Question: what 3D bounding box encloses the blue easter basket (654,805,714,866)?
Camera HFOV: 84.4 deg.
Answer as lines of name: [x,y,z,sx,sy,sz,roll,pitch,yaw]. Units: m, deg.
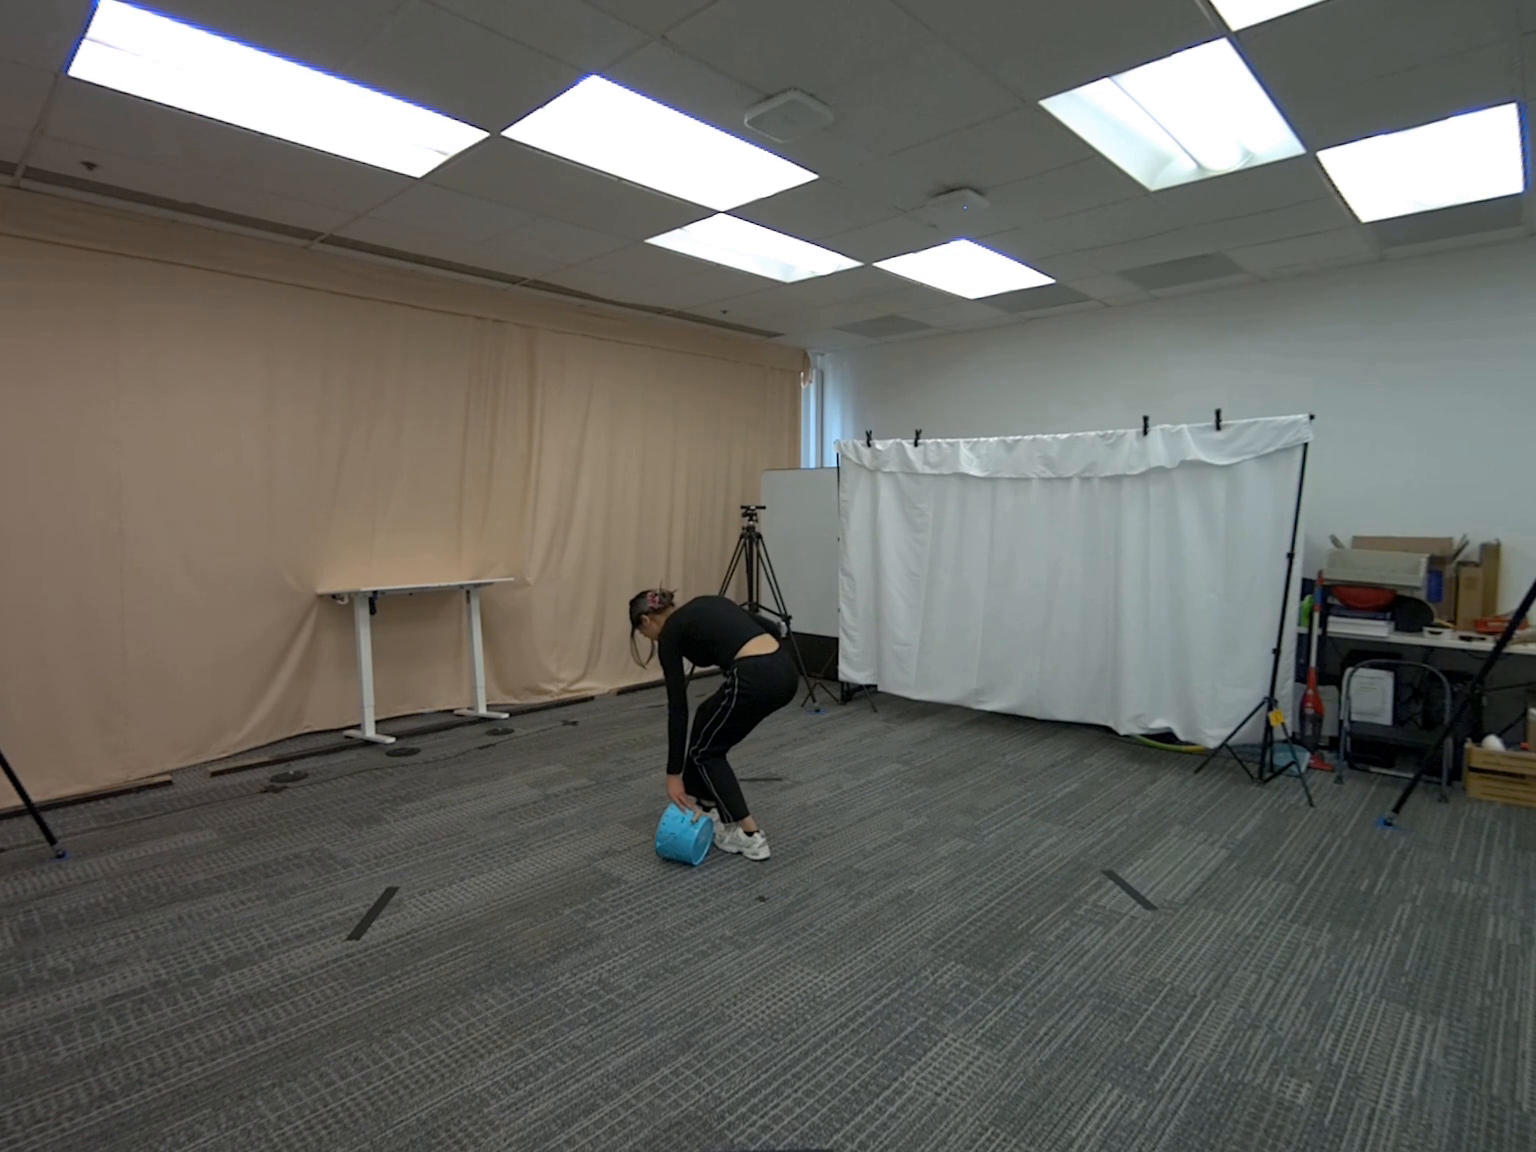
blue easter basket: [-0.327,1.009,3.304,0.160,0.243,0.238,13,9,23]
